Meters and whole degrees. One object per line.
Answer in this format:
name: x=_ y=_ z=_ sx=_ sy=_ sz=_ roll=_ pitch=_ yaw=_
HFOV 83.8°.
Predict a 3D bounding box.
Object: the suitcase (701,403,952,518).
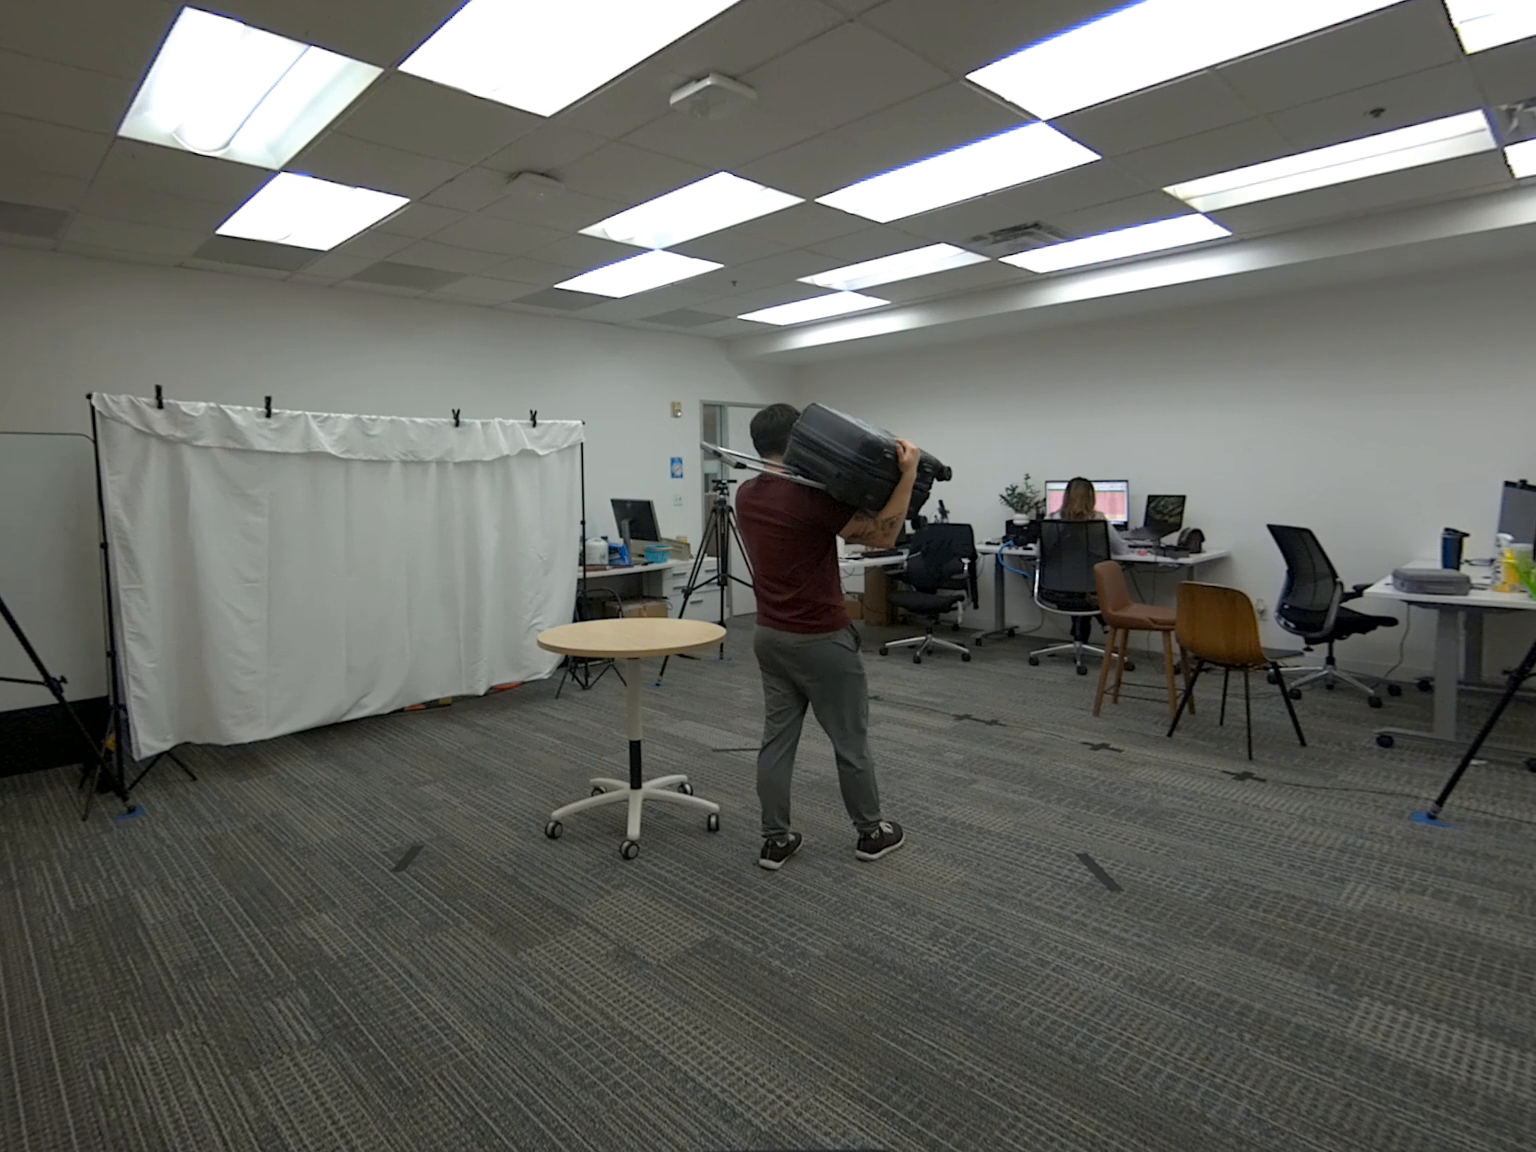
suitcase: x=0.211 y=-0.413 z=2.815 sx=0.946 sy=0.255 sz=0.399 roll=9 pitch=22 yaw=-49
